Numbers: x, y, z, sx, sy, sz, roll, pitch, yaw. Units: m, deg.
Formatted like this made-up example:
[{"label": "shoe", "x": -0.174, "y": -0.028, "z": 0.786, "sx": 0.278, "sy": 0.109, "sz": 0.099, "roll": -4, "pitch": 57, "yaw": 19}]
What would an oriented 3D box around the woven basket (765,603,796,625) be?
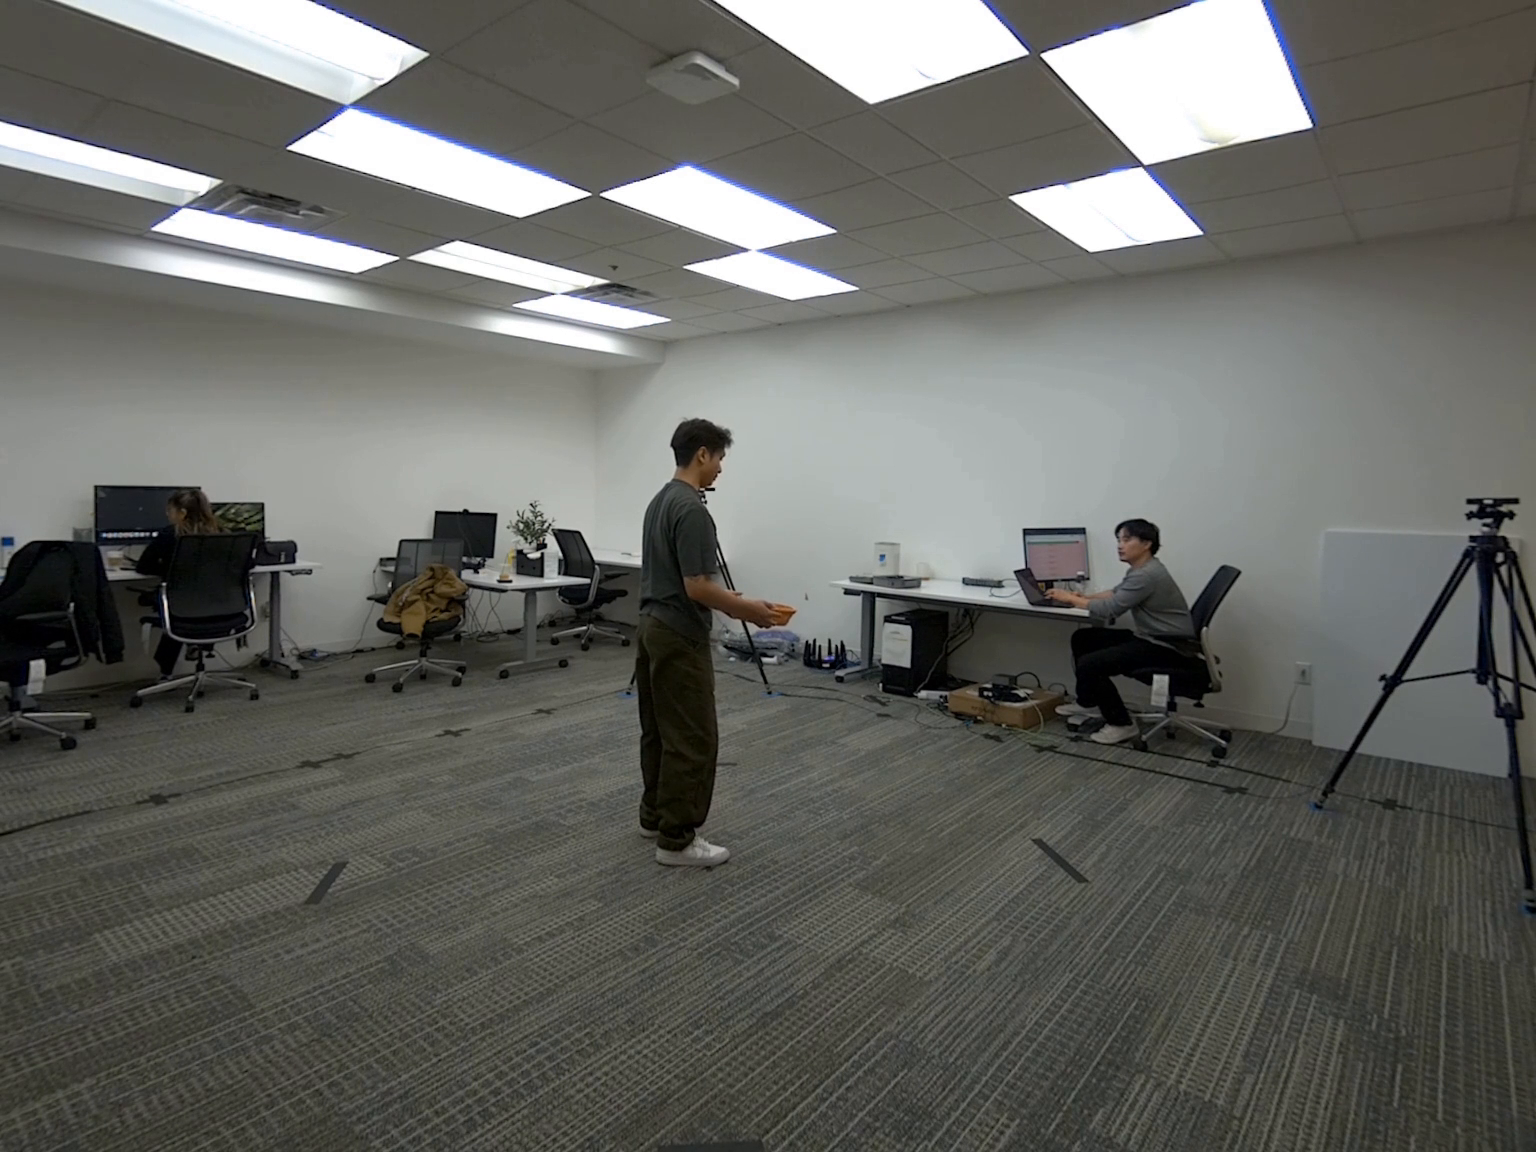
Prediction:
[{"label": "woven basket", "x": -0.054, "y": 0.148, "z": 3.391, "sx": 0.247, "sy": 0.073, "sz": 0.358, "roll": 6, "pitch": 2, "yaw": -20}]
